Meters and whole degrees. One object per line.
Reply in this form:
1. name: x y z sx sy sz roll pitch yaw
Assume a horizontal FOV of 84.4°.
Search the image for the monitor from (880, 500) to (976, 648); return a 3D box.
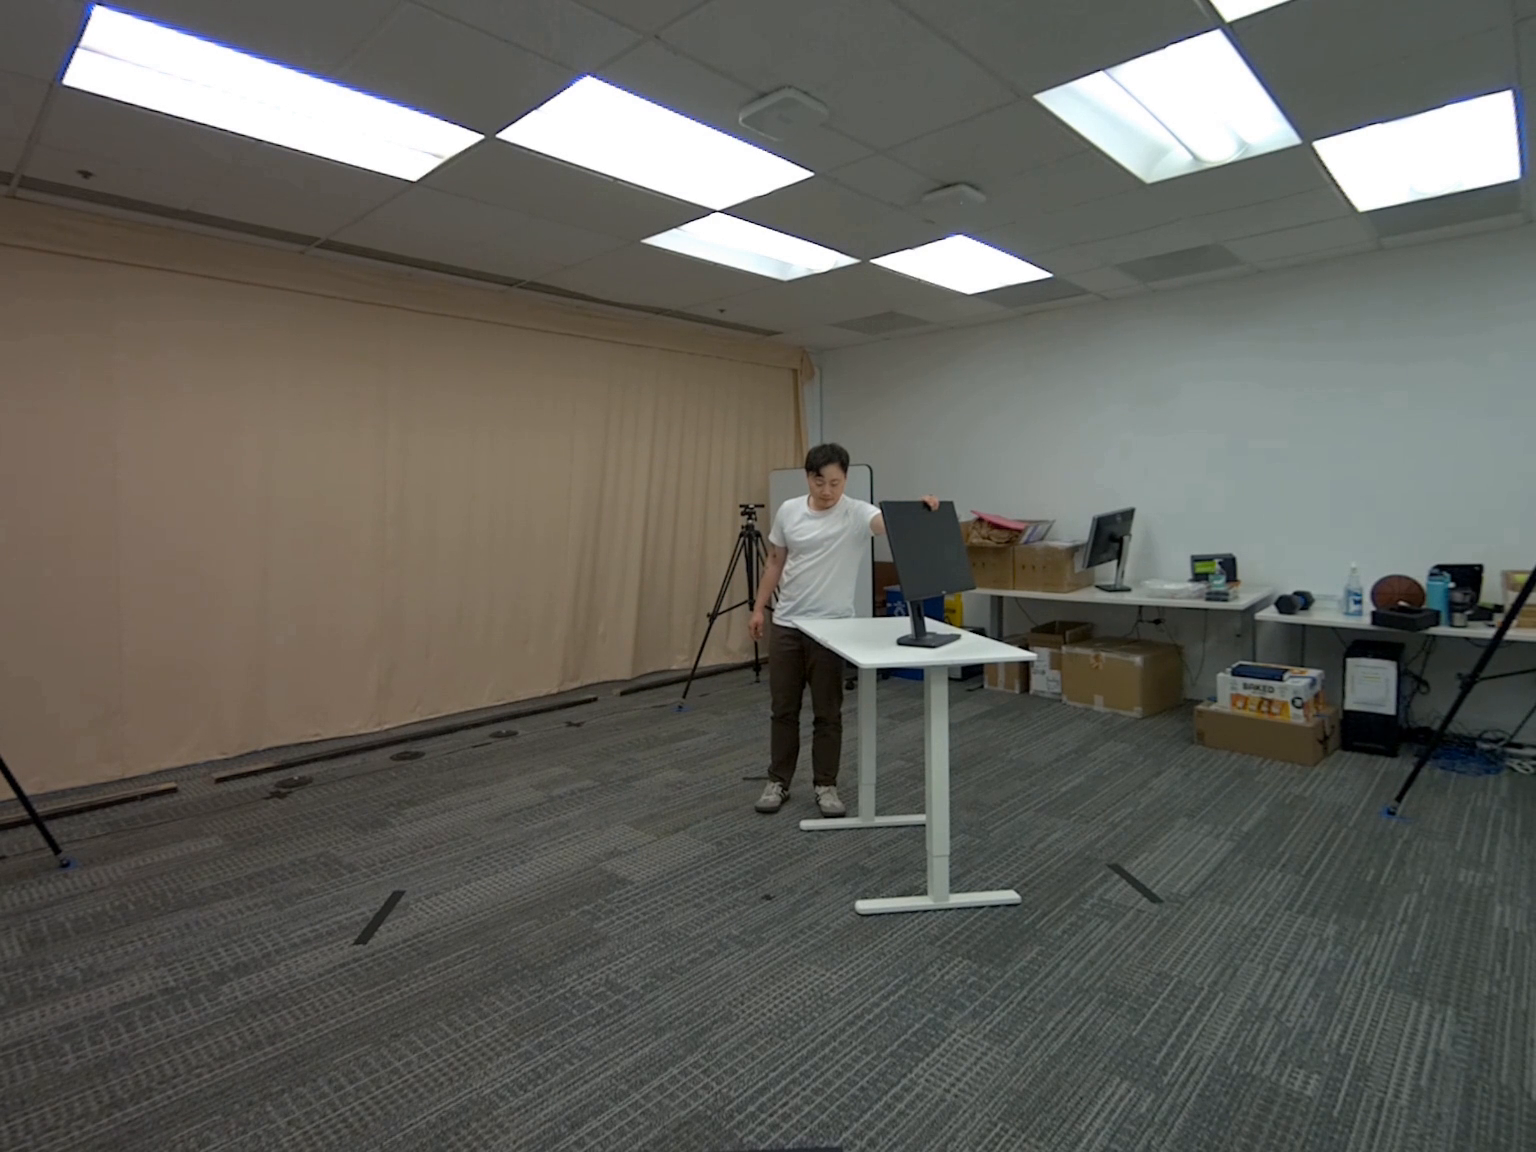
1. monitor: 0.582 -0.011 3.076 0.193 0.522 0.523 0 3 37
